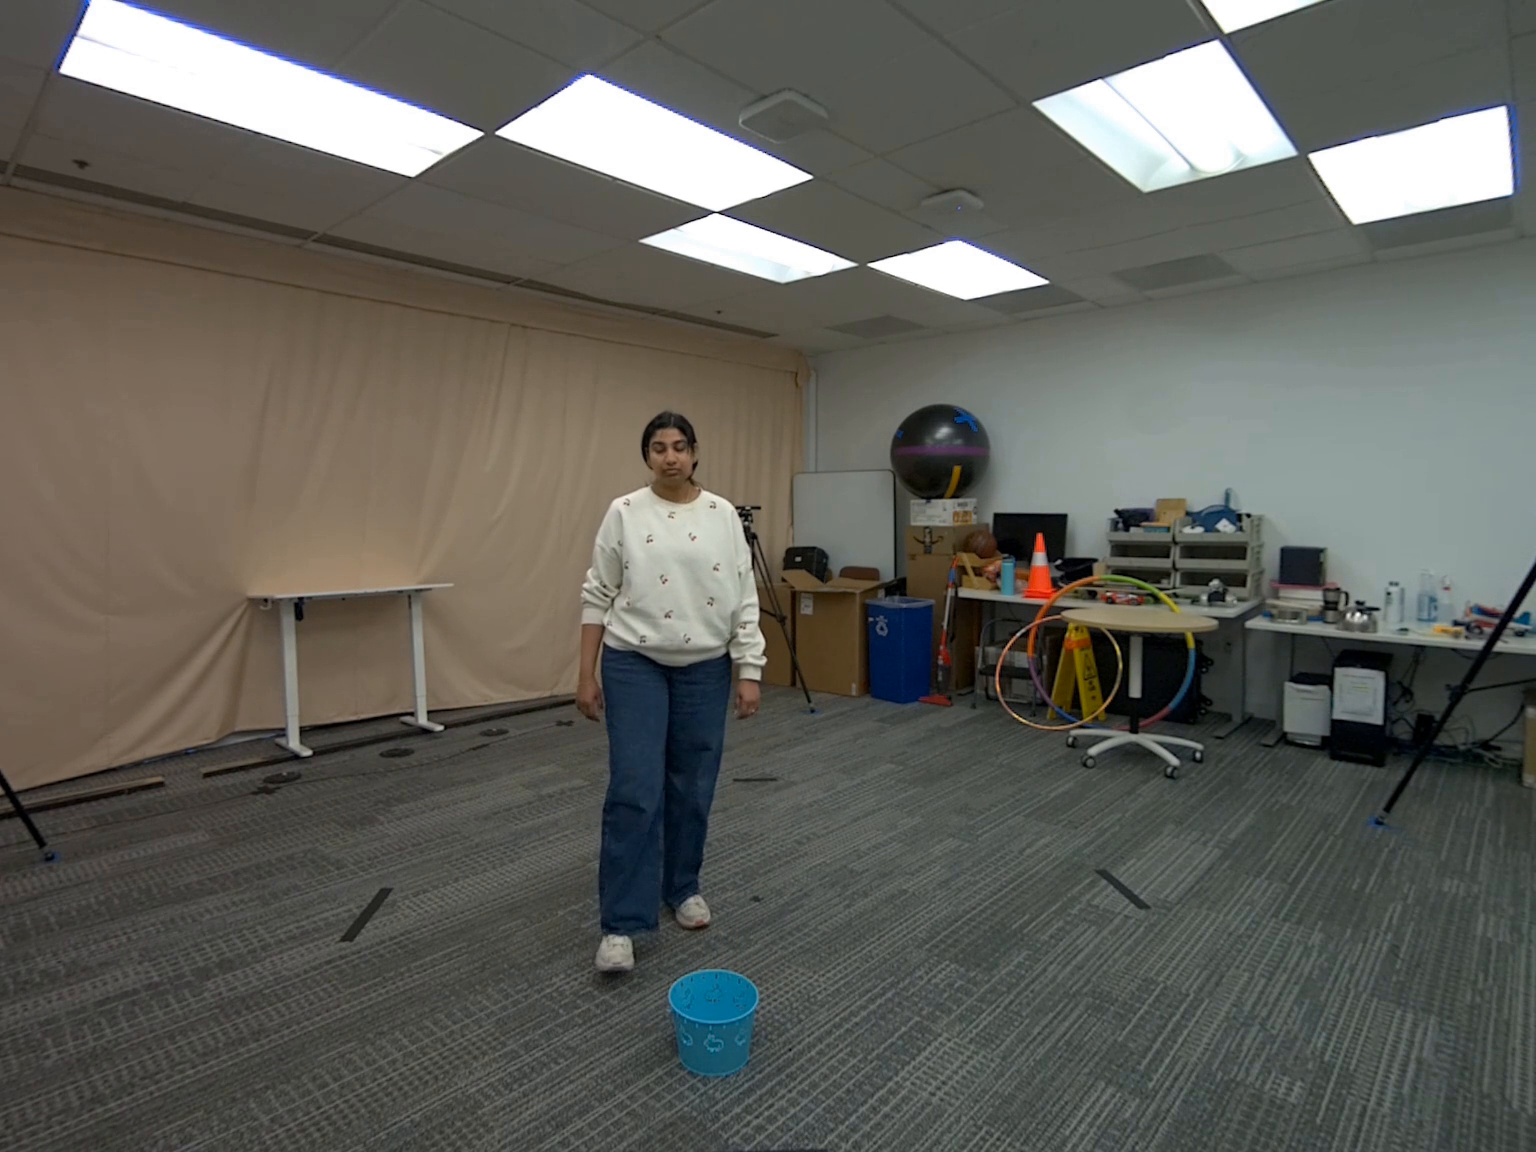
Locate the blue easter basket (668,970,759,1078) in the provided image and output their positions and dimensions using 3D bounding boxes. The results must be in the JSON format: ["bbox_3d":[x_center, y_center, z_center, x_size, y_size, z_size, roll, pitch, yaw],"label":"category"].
[{"bbox_3d":[-0.133,1.133,2.146,0.243,0.155,0.244,0,4,-2],"label":"blue easter basket"}]
